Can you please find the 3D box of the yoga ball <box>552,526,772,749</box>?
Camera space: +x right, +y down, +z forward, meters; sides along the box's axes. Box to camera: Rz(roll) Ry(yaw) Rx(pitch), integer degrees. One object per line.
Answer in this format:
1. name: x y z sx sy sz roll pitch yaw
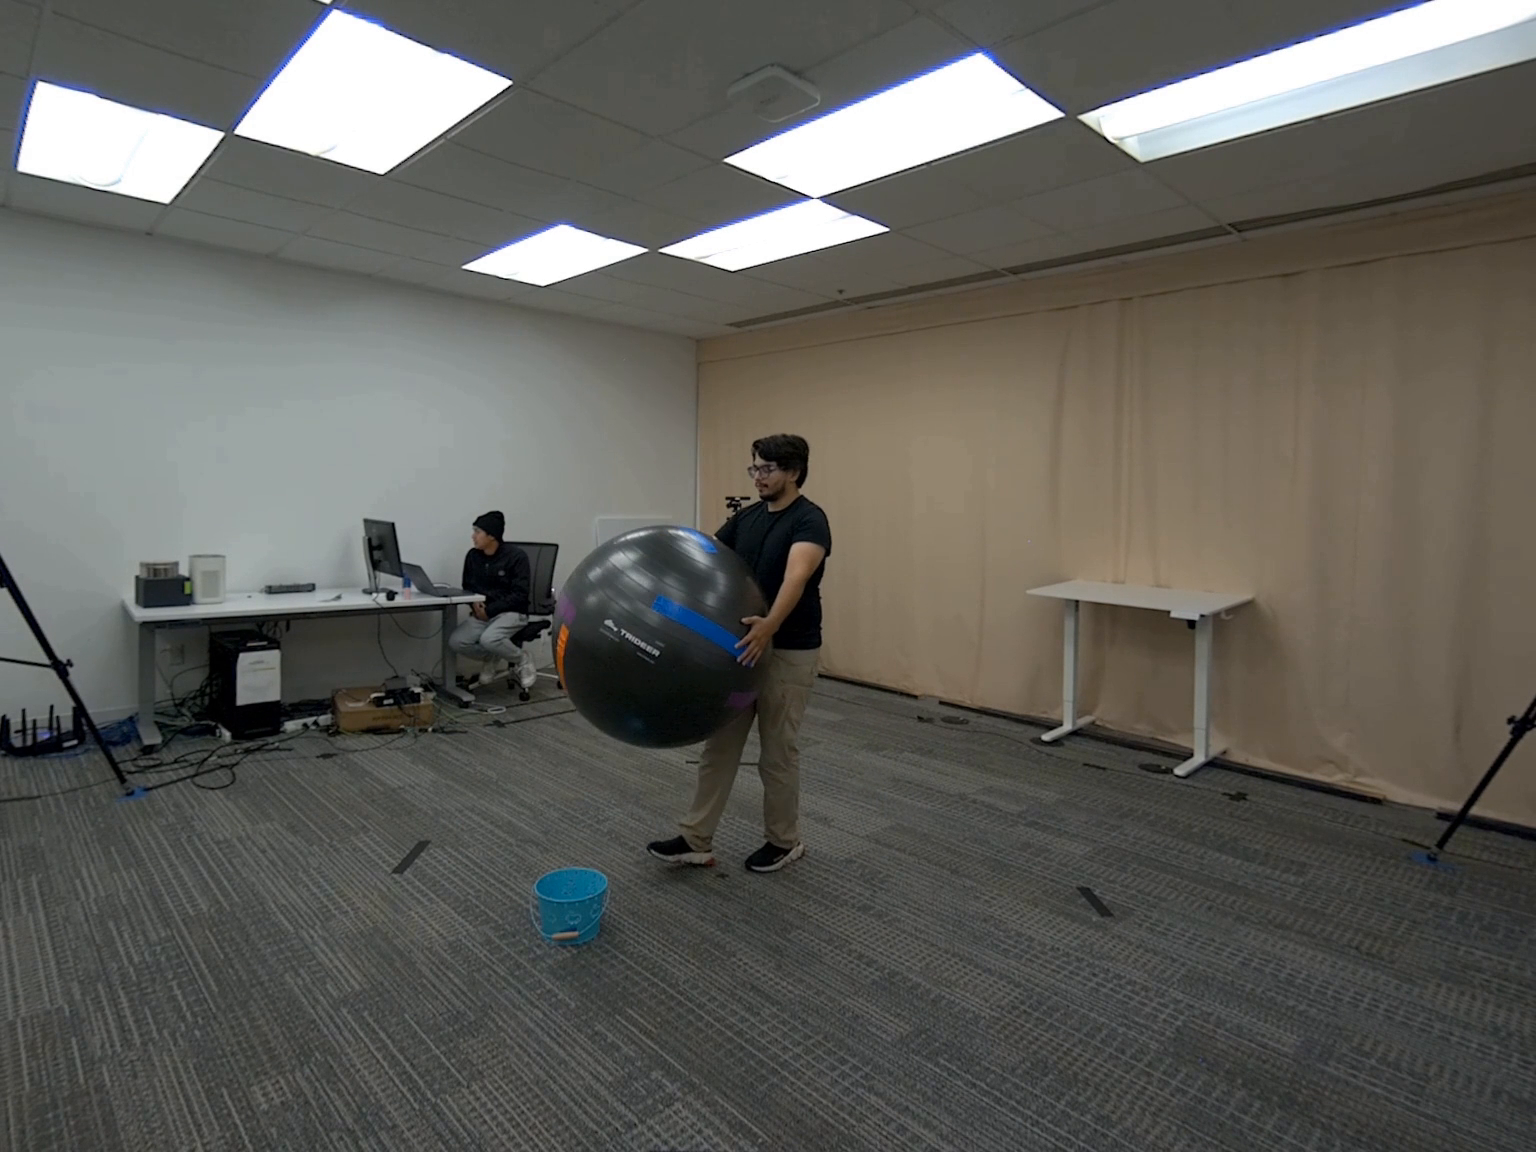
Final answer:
1. yoga ball: -0.385 0.221 2.888 0.757 0.756 0.760 1 4 -1
